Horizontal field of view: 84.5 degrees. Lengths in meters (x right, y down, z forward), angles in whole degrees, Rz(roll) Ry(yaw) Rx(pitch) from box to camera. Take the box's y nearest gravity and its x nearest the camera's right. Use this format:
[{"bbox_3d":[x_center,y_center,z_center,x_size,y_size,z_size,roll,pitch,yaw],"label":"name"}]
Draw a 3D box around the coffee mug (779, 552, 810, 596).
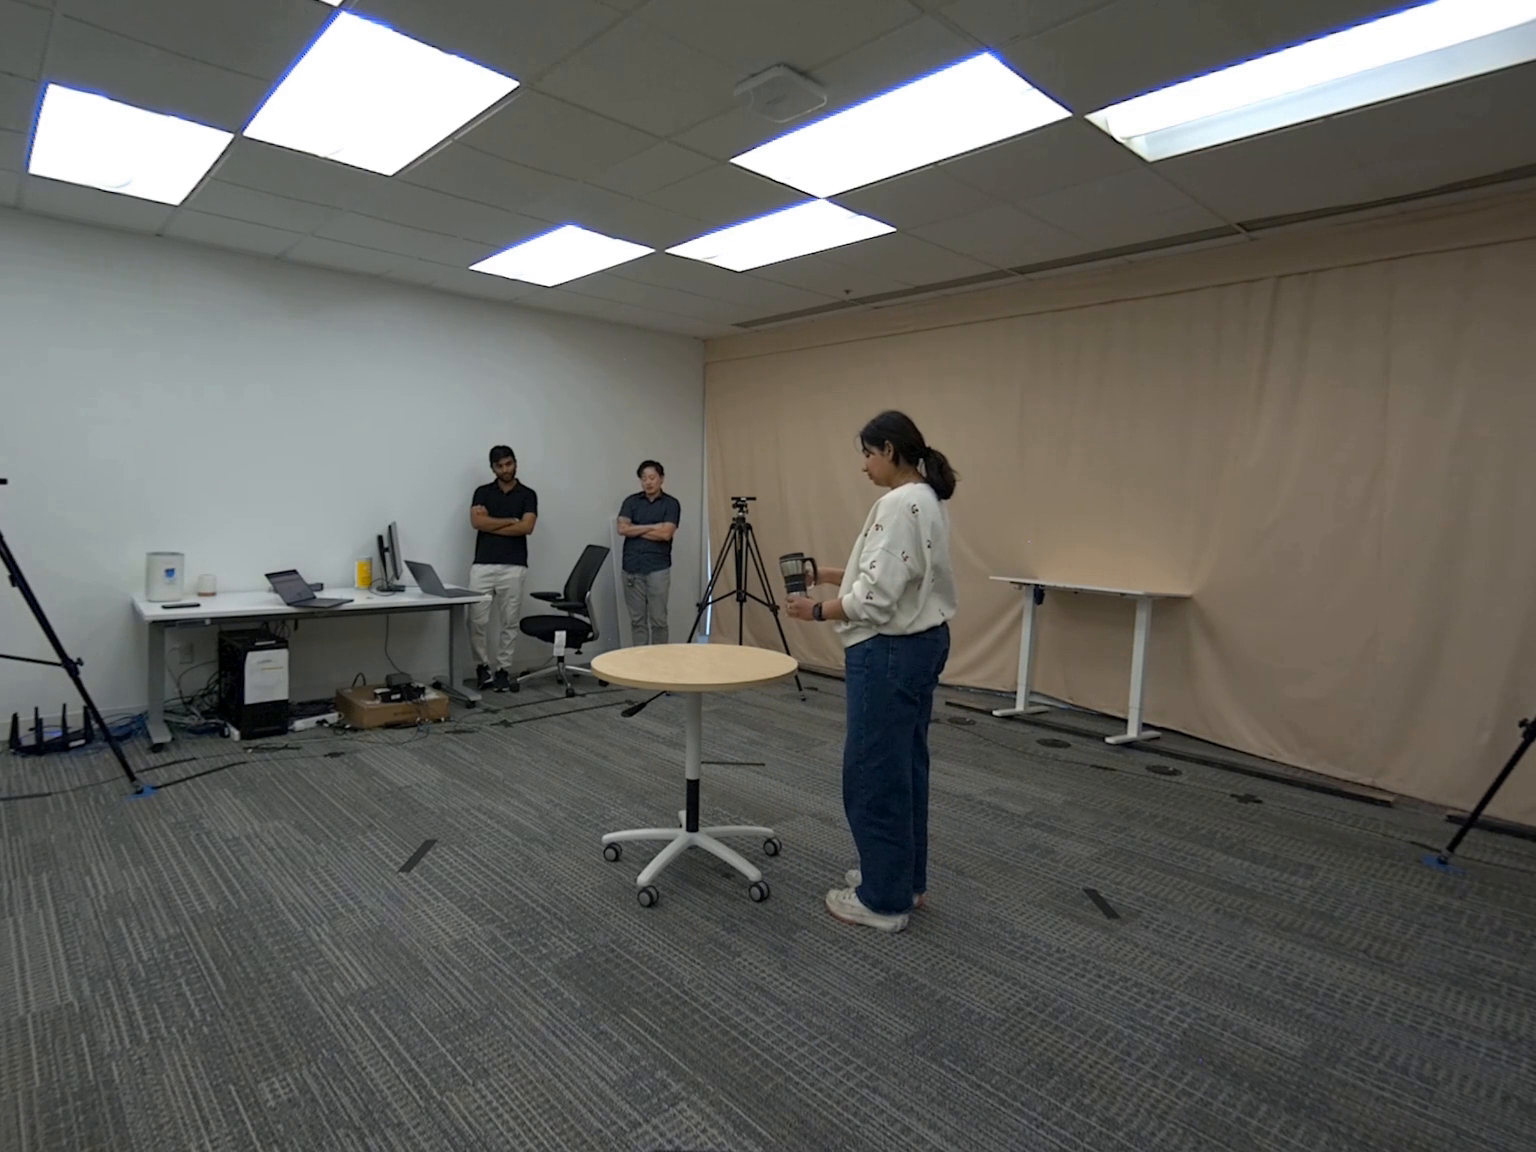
[{"bbox_3d":[0.112,0.025,2.868,0.123,0.205,0.086,-12,-11,22],"label":"coffee mug"}]
